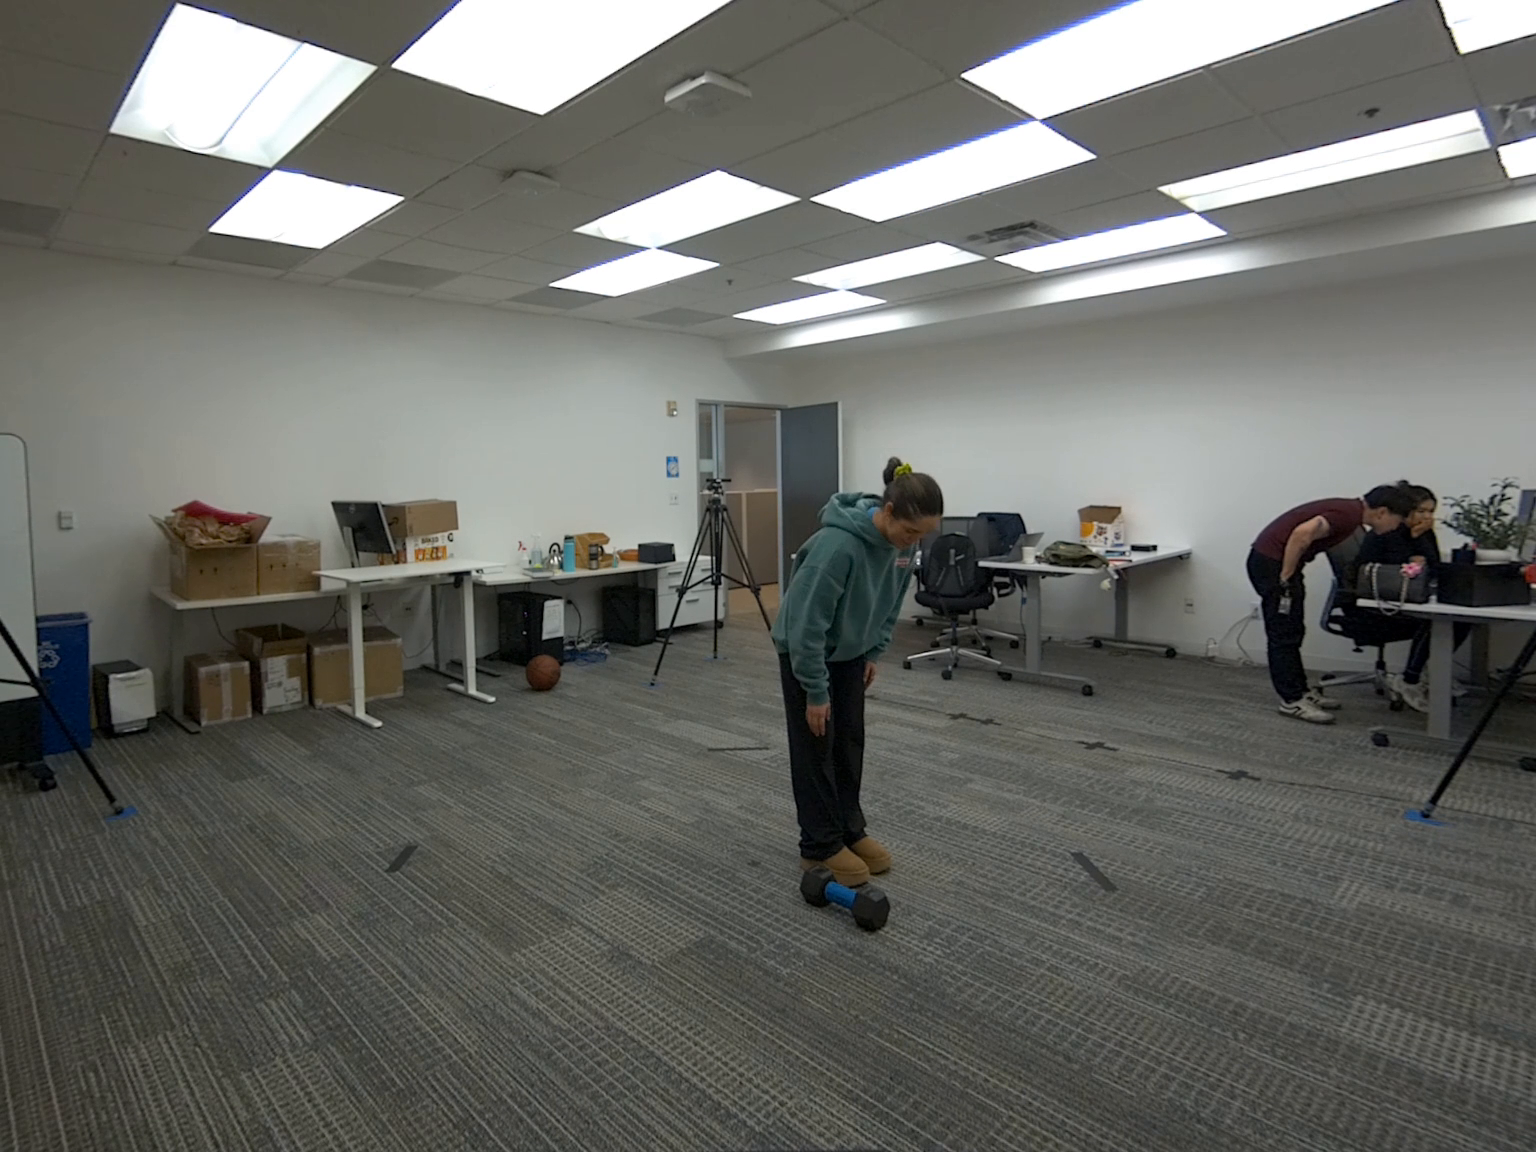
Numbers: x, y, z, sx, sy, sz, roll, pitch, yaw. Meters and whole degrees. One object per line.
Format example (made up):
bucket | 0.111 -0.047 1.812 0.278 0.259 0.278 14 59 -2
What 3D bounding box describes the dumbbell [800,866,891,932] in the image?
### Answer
dumbbell | 0.245 1.032 2.735 0.303 0.119 0.108 5 39 45
